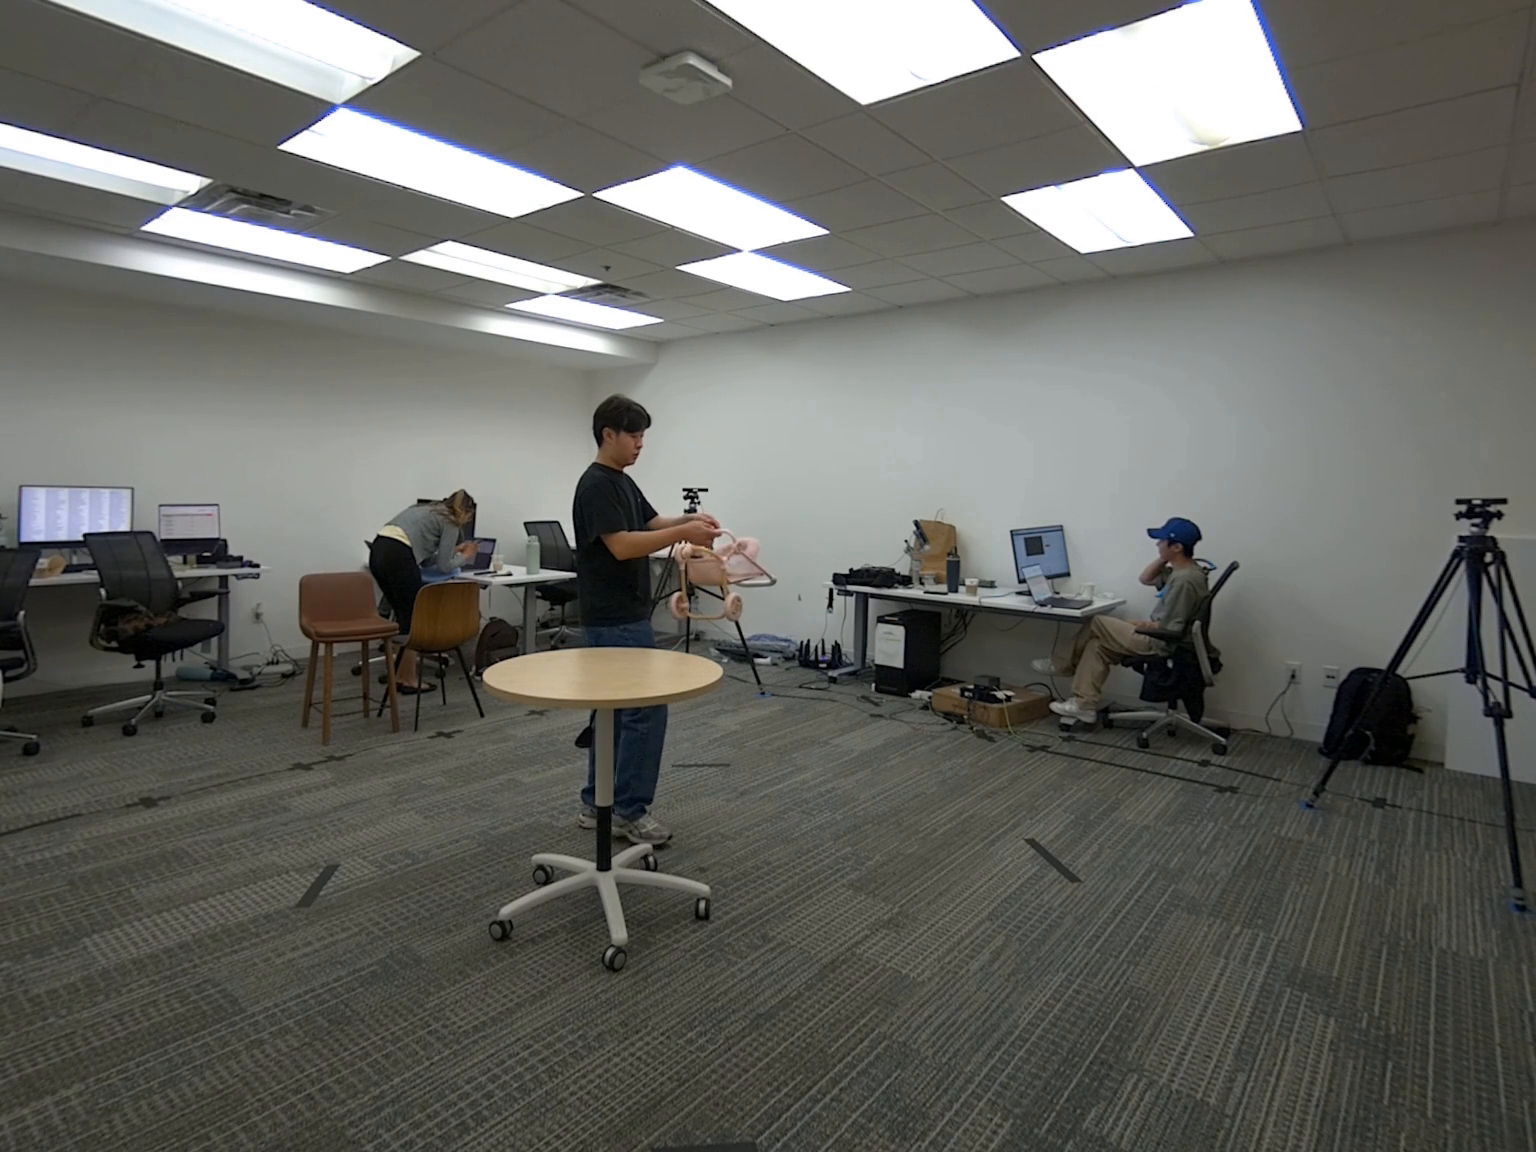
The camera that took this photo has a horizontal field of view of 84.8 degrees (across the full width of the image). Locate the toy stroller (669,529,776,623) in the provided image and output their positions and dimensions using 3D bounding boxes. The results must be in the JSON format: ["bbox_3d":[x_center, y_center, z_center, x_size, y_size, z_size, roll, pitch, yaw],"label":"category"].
[{"bbox_3d":[-0.199,-0.034,3.344,0.289,0.336,0.529,-8,15,33],"label":"toy stroller"}]
